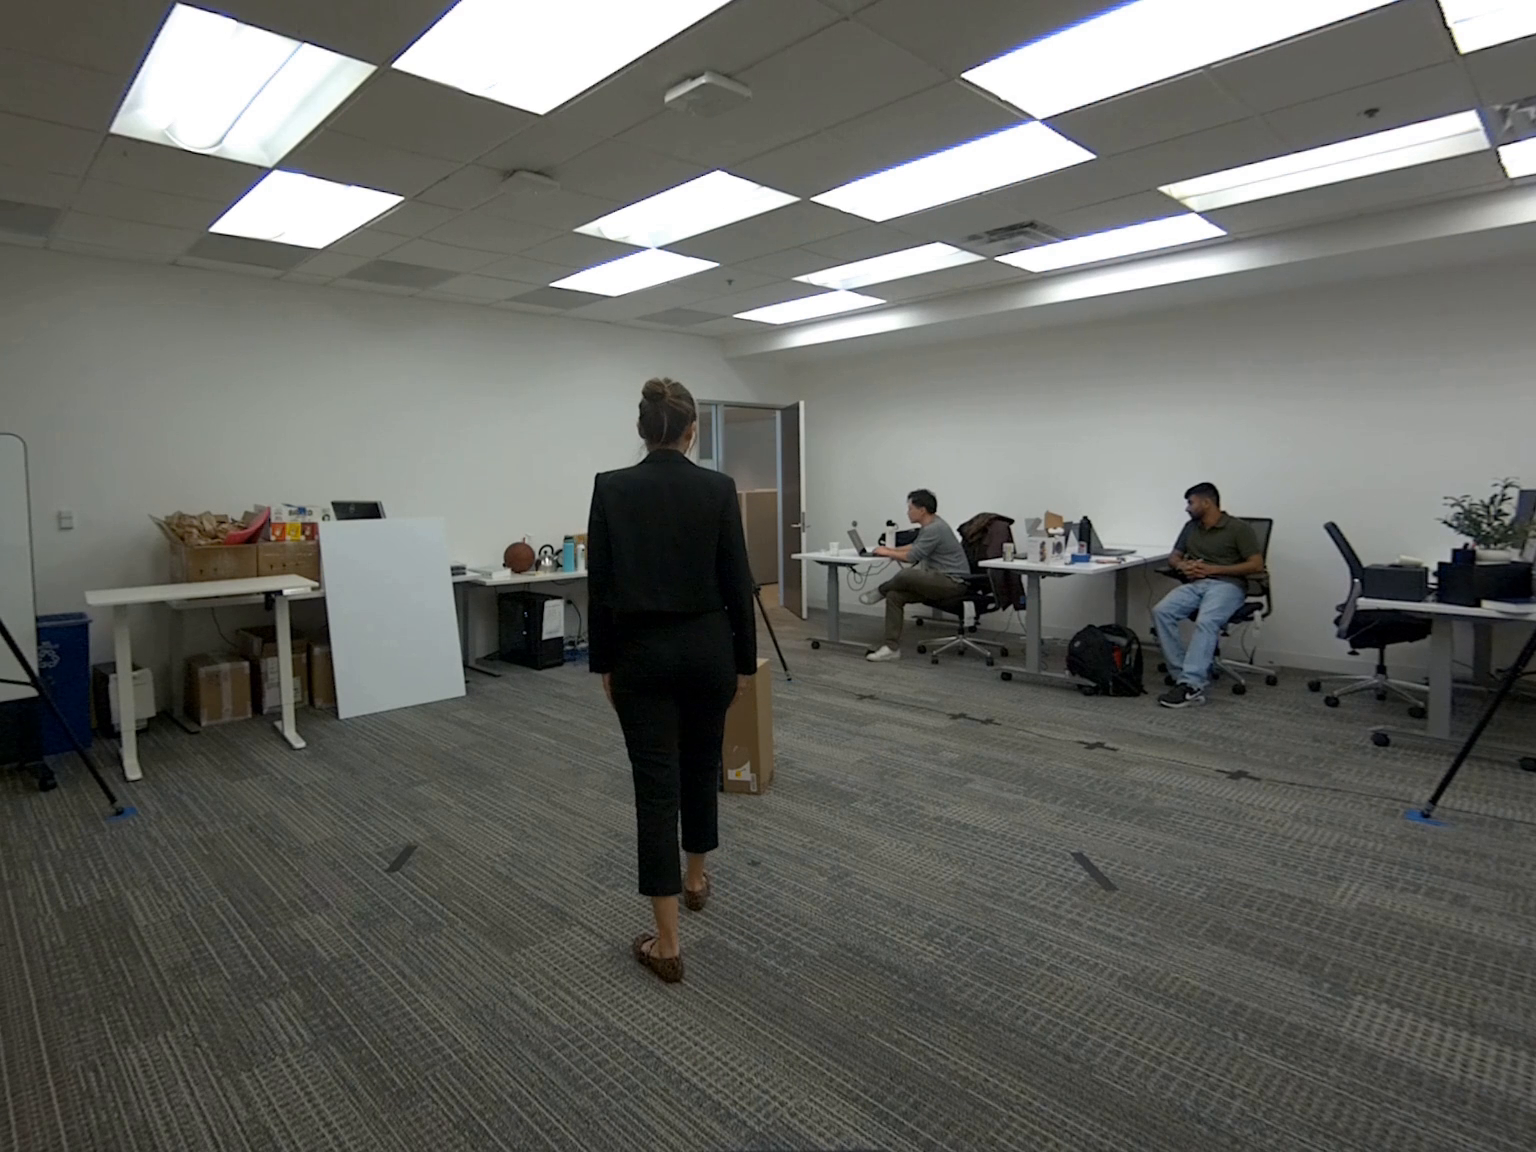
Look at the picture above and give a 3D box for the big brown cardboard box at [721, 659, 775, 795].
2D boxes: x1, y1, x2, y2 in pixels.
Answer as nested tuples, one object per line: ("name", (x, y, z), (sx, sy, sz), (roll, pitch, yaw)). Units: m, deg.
("big brown cardboard box", (-0.211, 0.679, 3.929), (0.425, 0.588, 0.229), (-1, 2, 19))
